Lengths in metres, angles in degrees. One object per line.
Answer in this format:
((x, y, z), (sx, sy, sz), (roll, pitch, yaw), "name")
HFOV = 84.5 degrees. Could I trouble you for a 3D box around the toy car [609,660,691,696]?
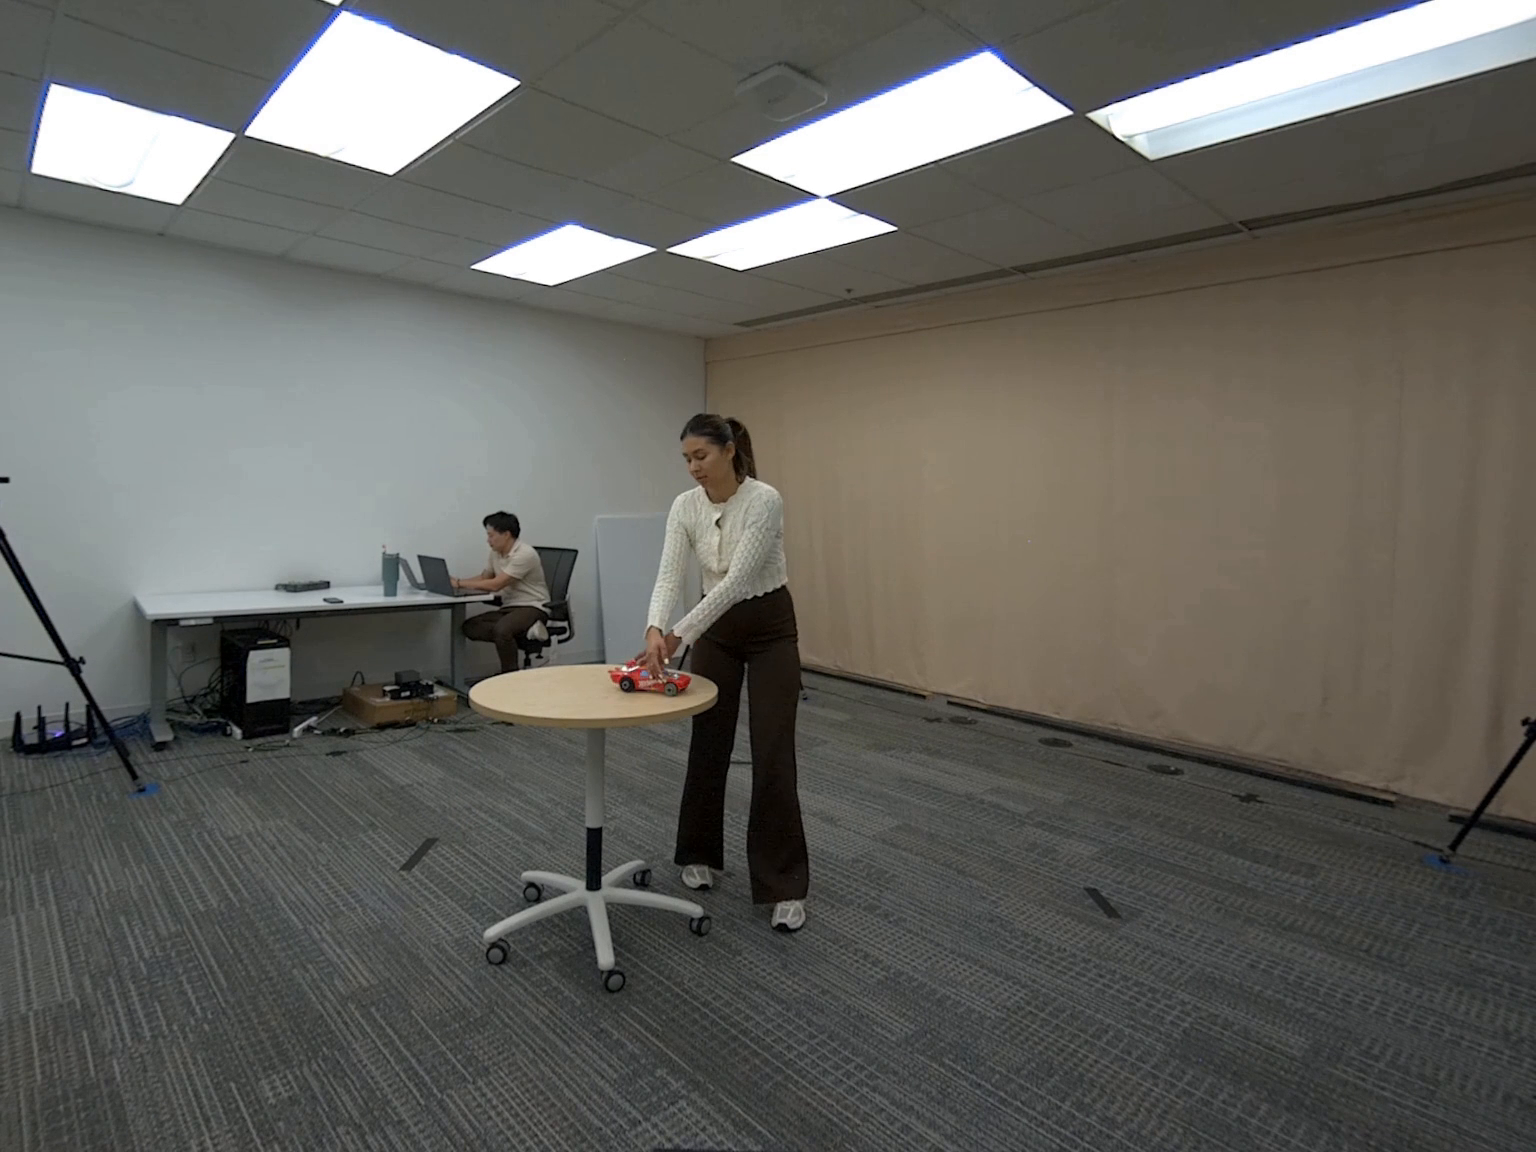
((-0.386, 0.326, 2.625), (0.258, 0.083, 0.129), (14, 9, 16), "toy car")
